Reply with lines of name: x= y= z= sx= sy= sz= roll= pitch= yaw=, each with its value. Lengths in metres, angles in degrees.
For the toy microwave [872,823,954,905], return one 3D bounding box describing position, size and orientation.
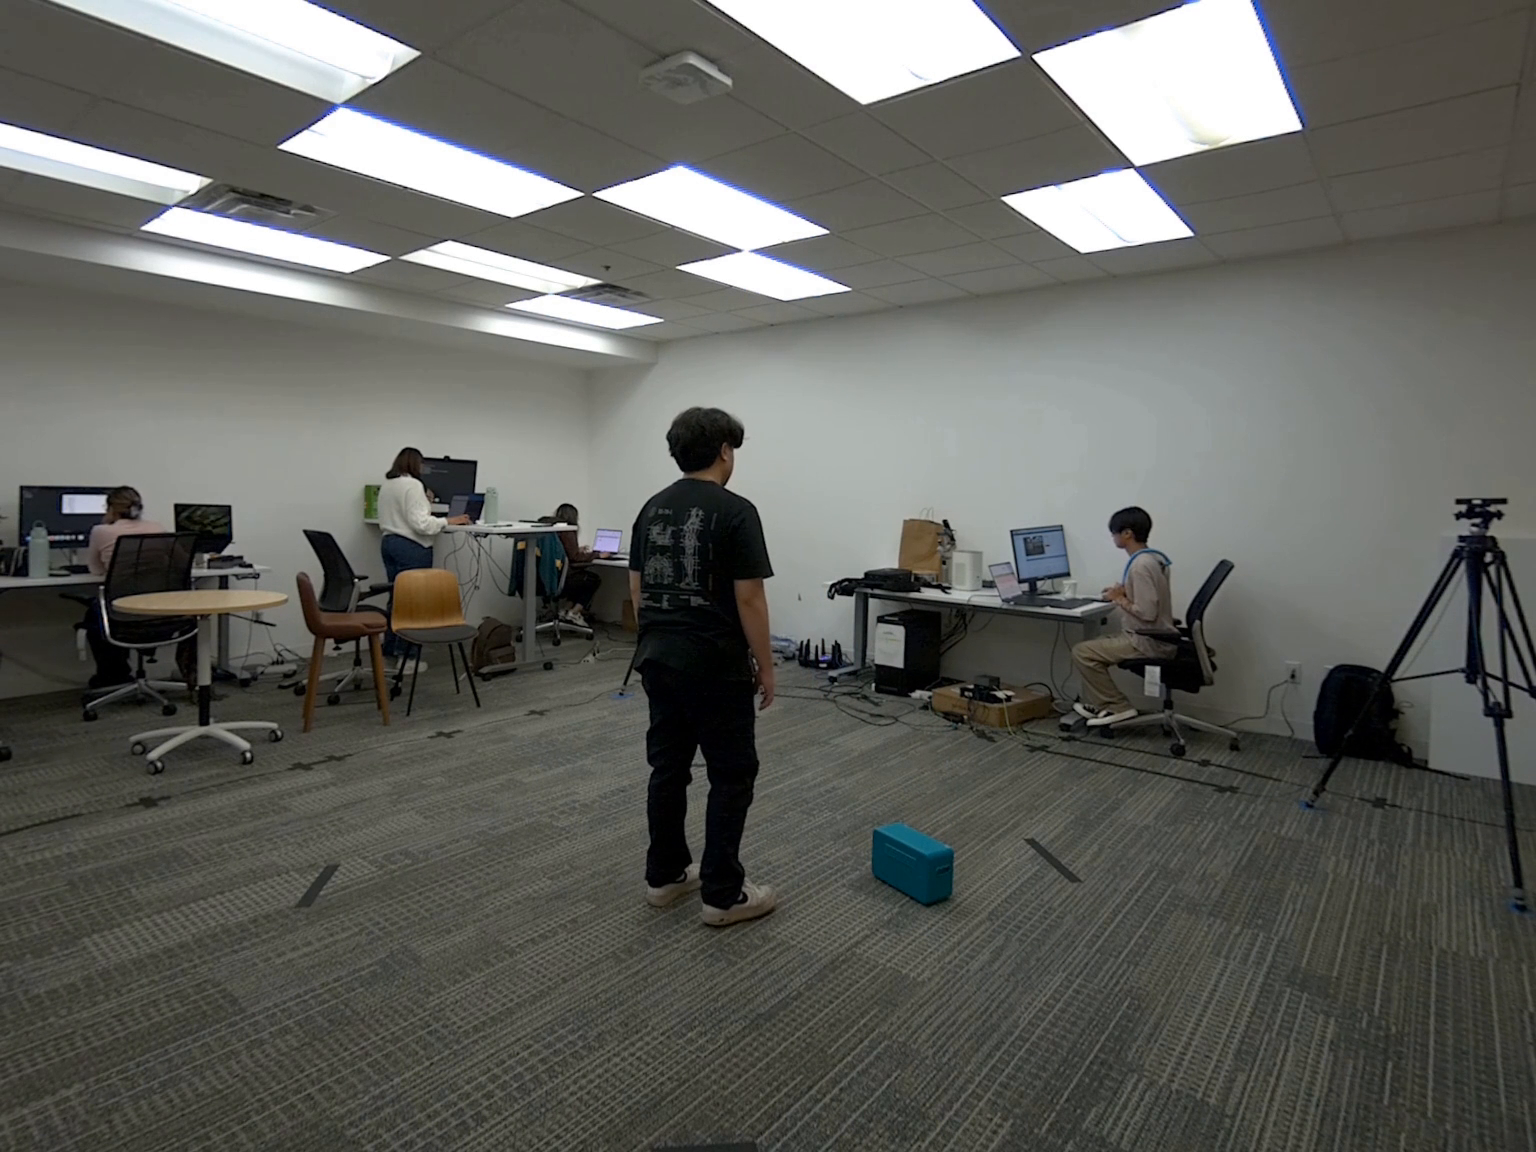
toy microwave: x=0.508 y=1.008 z=2.999 sx=0.148 sy=0.183 sz=0.295 roll=-1 pitch=5 yaw=-34
